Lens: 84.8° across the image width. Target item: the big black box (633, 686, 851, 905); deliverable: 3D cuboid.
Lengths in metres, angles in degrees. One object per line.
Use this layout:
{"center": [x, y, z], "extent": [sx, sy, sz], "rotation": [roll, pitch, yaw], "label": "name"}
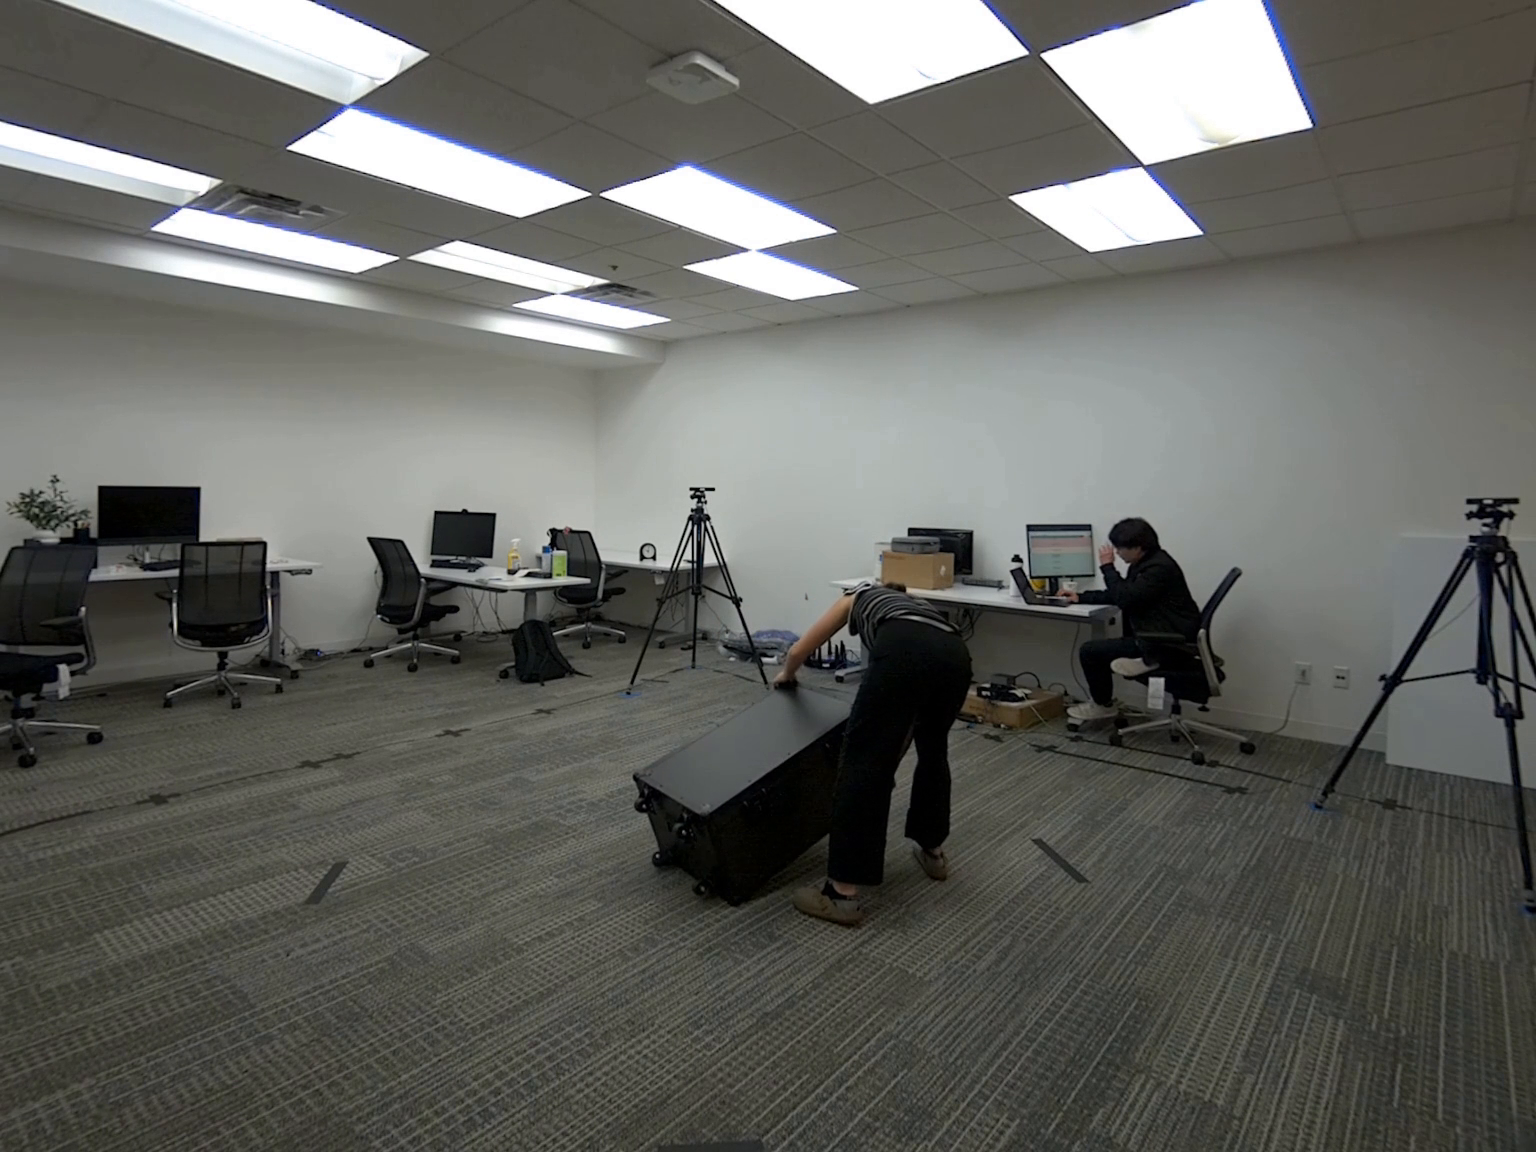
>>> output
{"center": [-0.055, 0.781, 3.166], "extent": [0.849, 0.389, 0.539], "rotation": [-27, 20, -32], "label": "big black box"}
